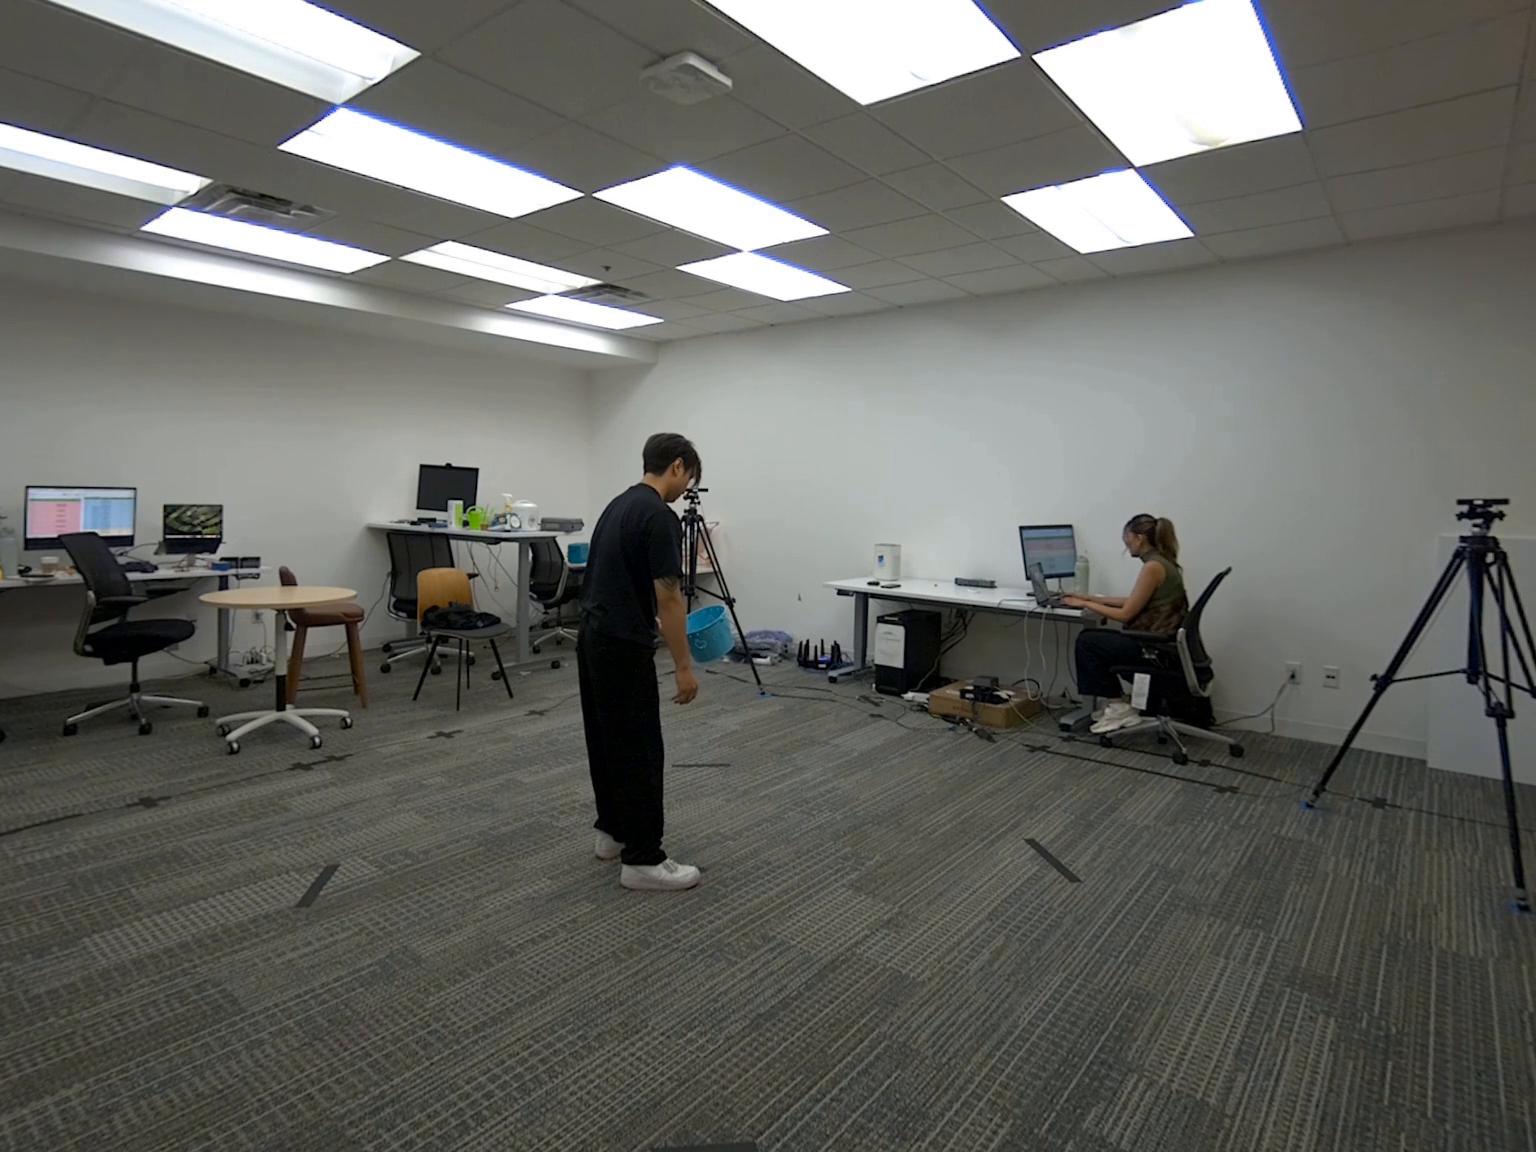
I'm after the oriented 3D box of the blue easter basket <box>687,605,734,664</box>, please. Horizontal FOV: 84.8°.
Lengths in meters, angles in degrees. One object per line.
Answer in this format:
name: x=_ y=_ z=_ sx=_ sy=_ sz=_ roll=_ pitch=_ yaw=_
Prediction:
blue easter basket: x=-0.250 y=0.243 z=3.483 sx=0.244 sy=0.152 sz=0.248 roll=-21 pitch=19 yaw=5
